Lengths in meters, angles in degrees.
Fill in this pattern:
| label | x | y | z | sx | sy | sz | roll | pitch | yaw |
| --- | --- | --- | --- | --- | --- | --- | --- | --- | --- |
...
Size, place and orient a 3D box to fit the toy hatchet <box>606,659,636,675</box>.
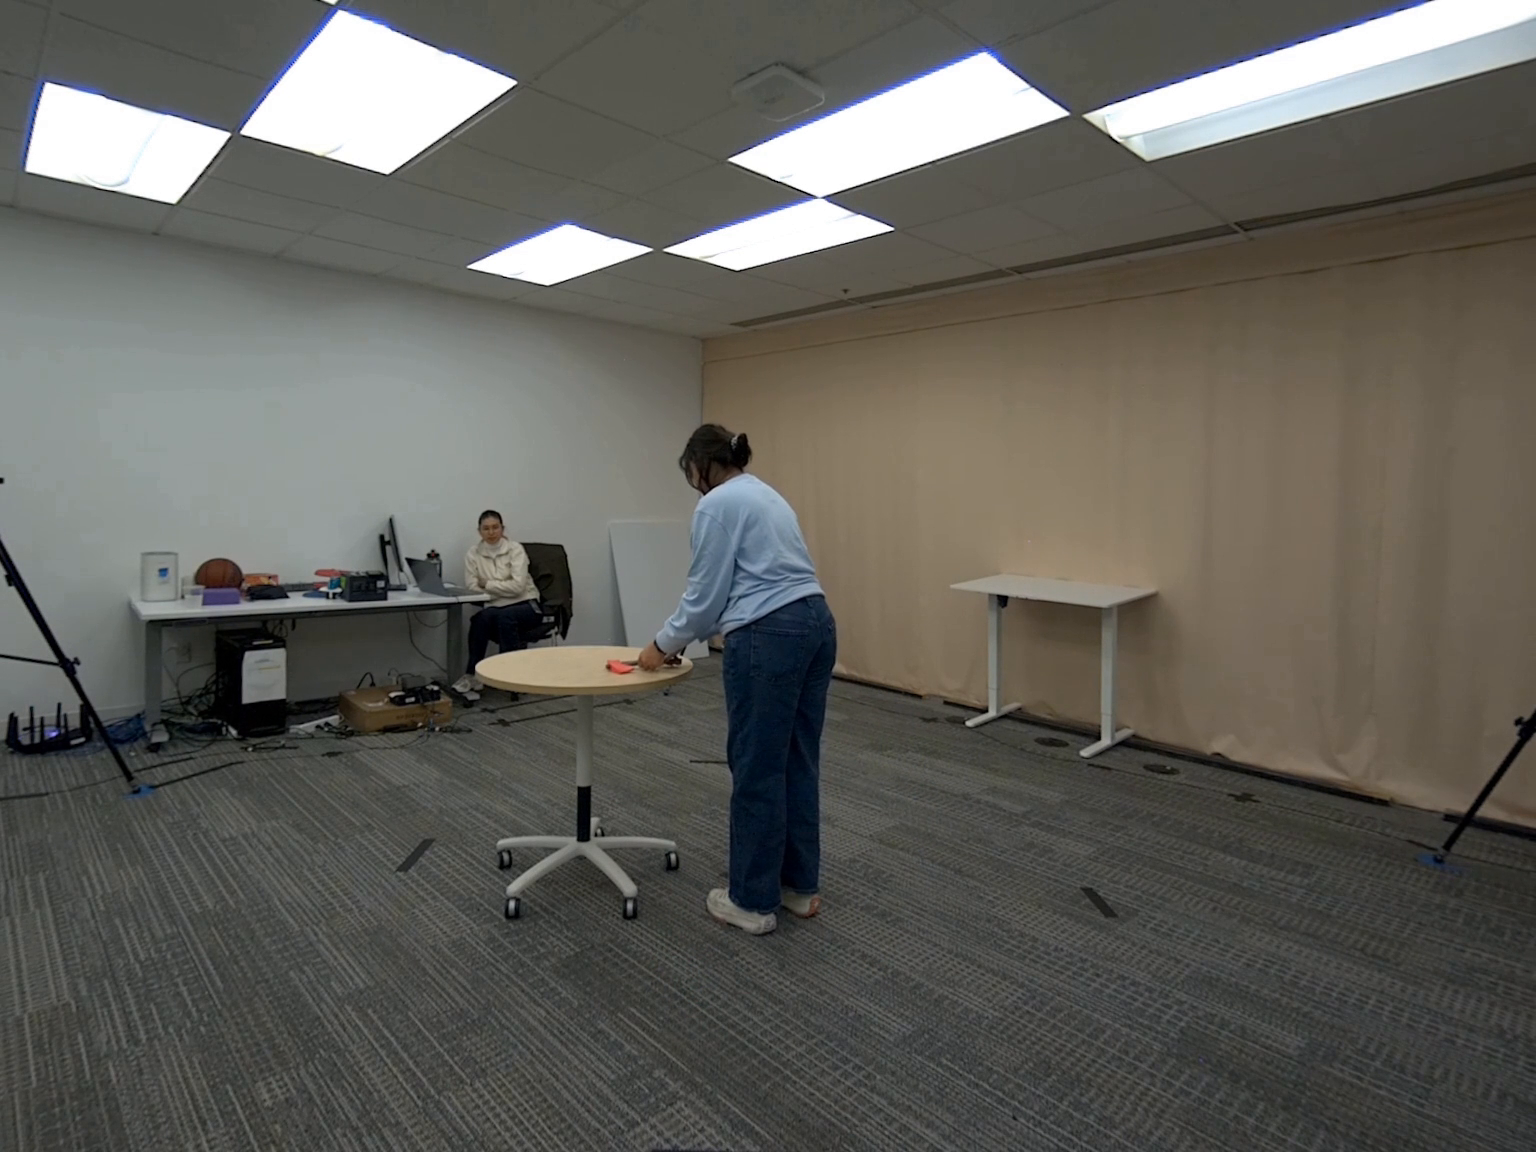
| label | x | y | z | sx | sy | sz | roll | pitch | yaw |
| --- | --- | --- | --- | --- | --- | --- | --- | --- | --- |
| toy hatchet | -0.431 | 0.315 | 2.915 | 0.268 | 0.029 | 0.133 | 2 | 10 | -10 |
